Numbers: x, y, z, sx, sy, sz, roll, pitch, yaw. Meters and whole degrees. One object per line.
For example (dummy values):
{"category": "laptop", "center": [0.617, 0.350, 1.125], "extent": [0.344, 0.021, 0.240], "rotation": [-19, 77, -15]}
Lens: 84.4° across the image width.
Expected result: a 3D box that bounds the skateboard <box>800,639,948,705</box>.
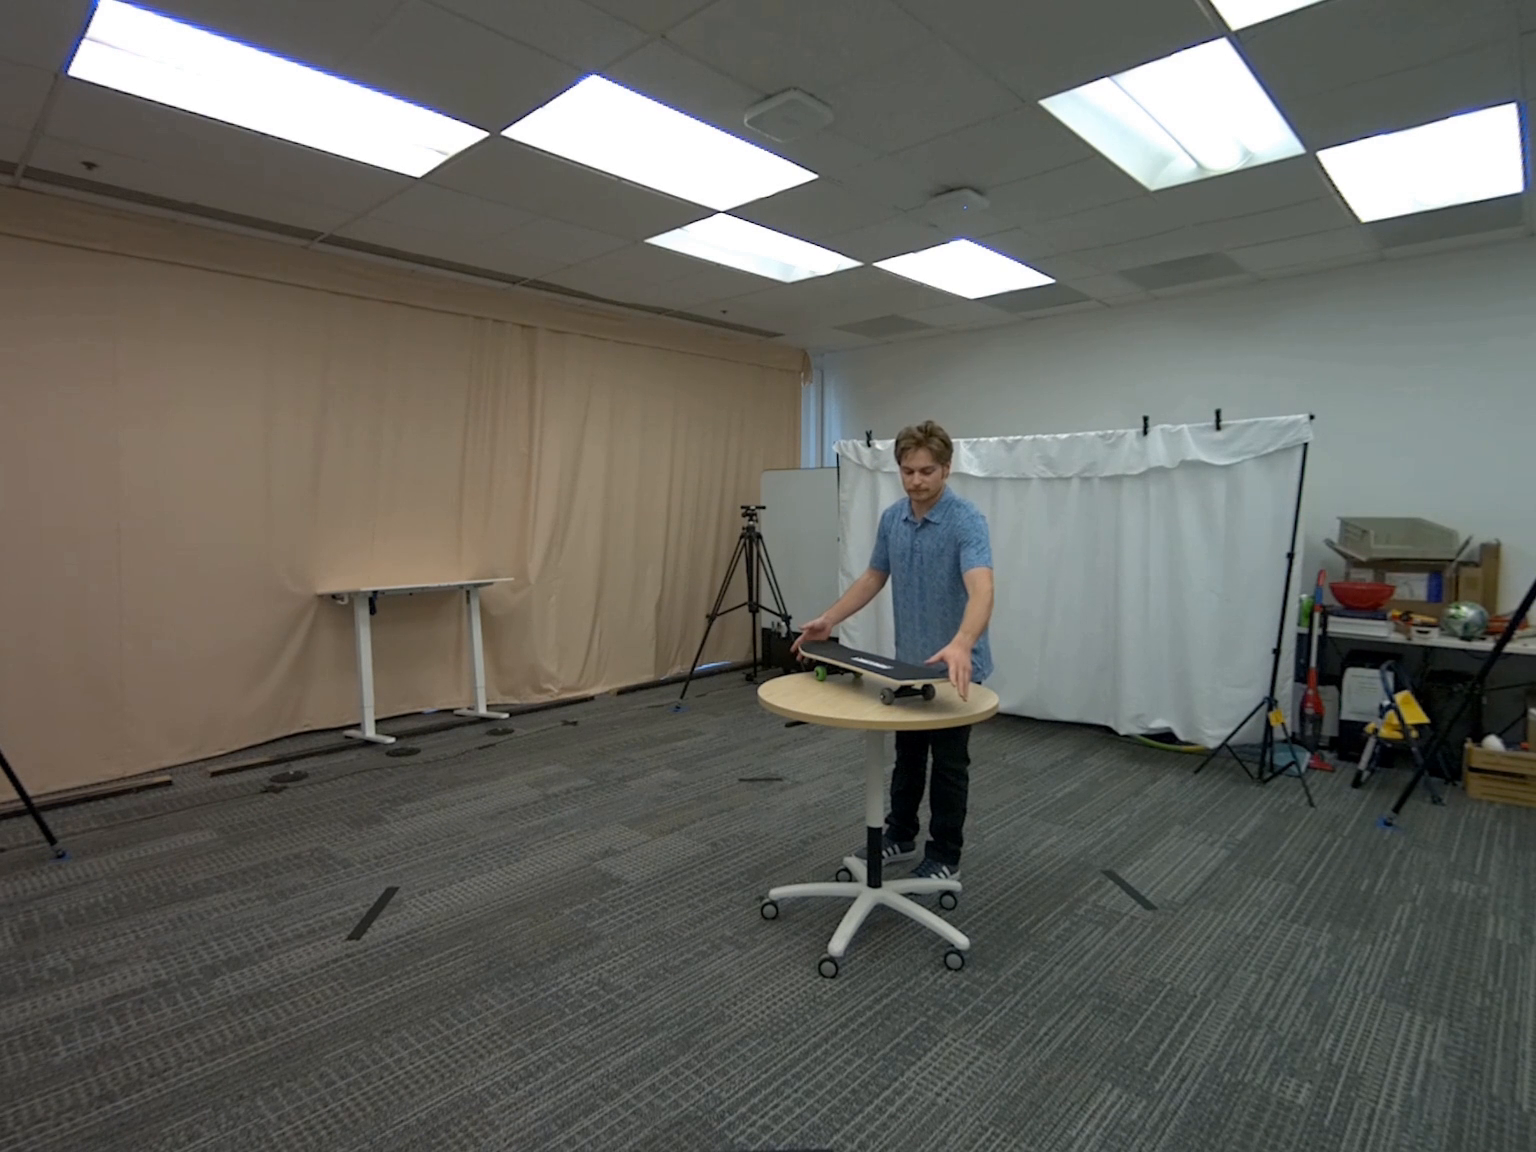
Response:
{"category": "skateboard", "center": [0.353, 0.325, 2.764], "extent": [0.189, 0.110, 0.806], "rotation": [-1, 5, -27]}
